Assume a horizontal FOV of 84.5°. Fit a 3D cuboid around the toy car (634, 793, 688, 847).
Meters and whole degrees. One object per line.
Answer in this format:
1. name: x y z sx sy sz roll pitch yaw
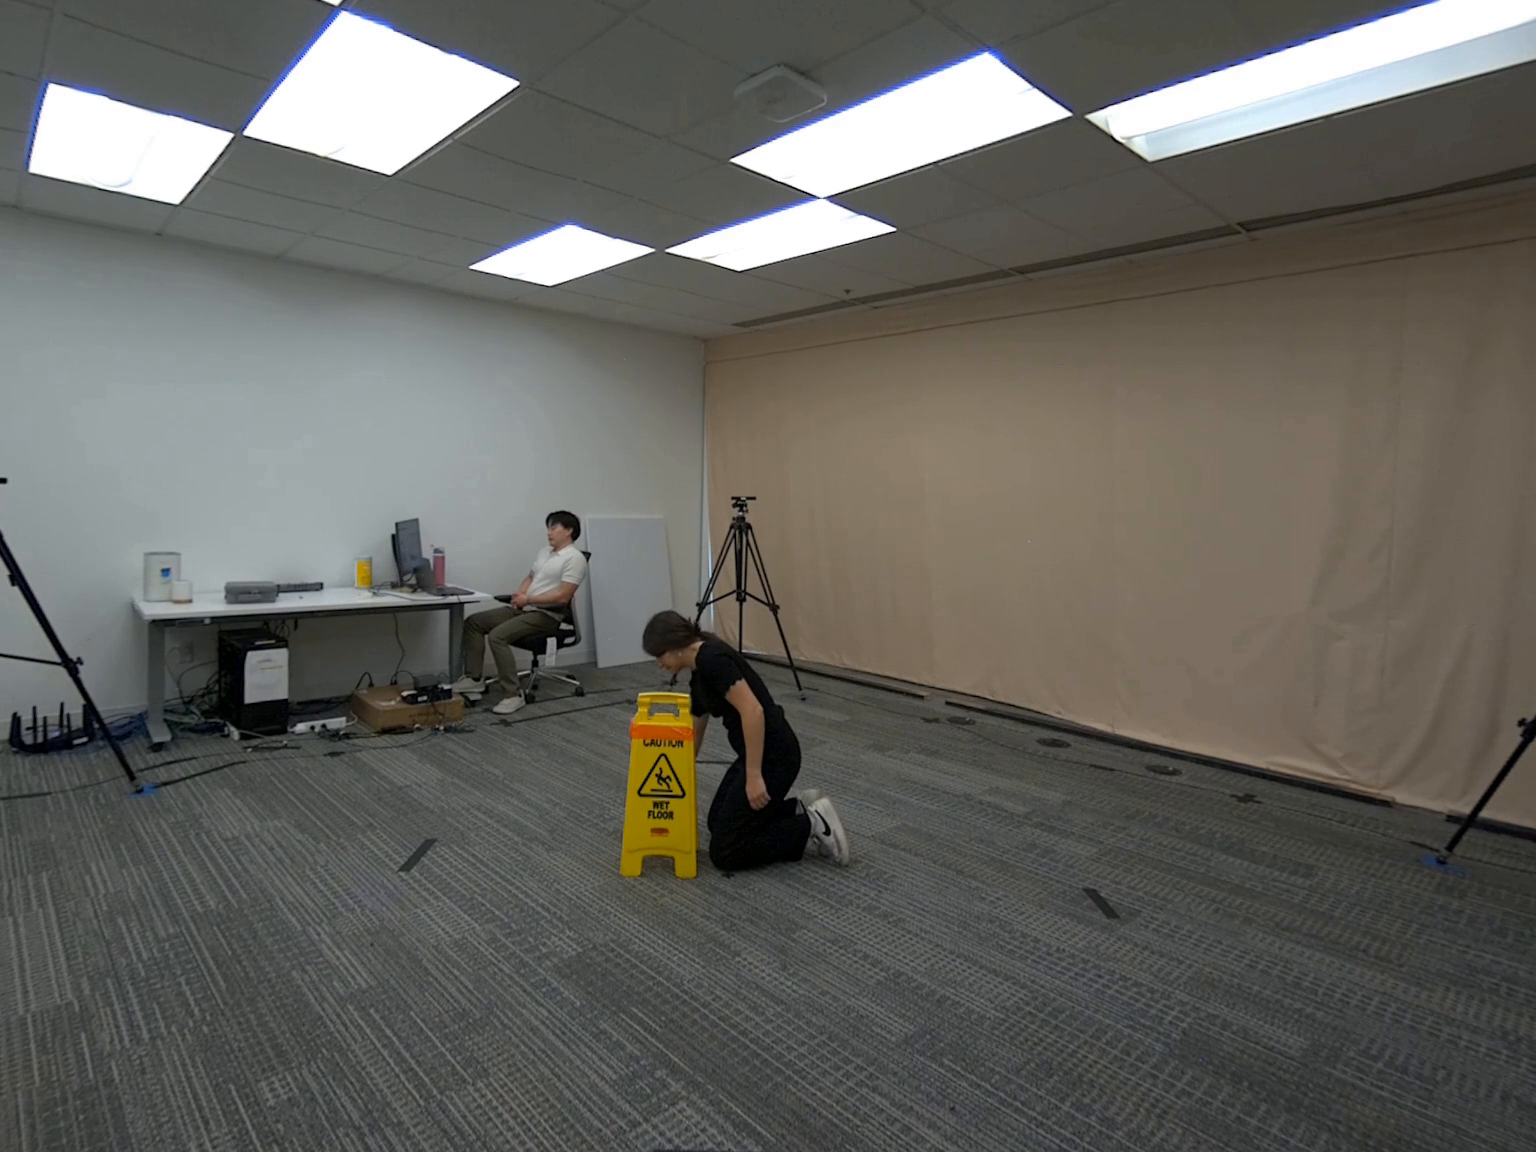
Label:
1. toy car: -0.453 1.027 3.585 0.132 0.082 0.253 5 14 18
